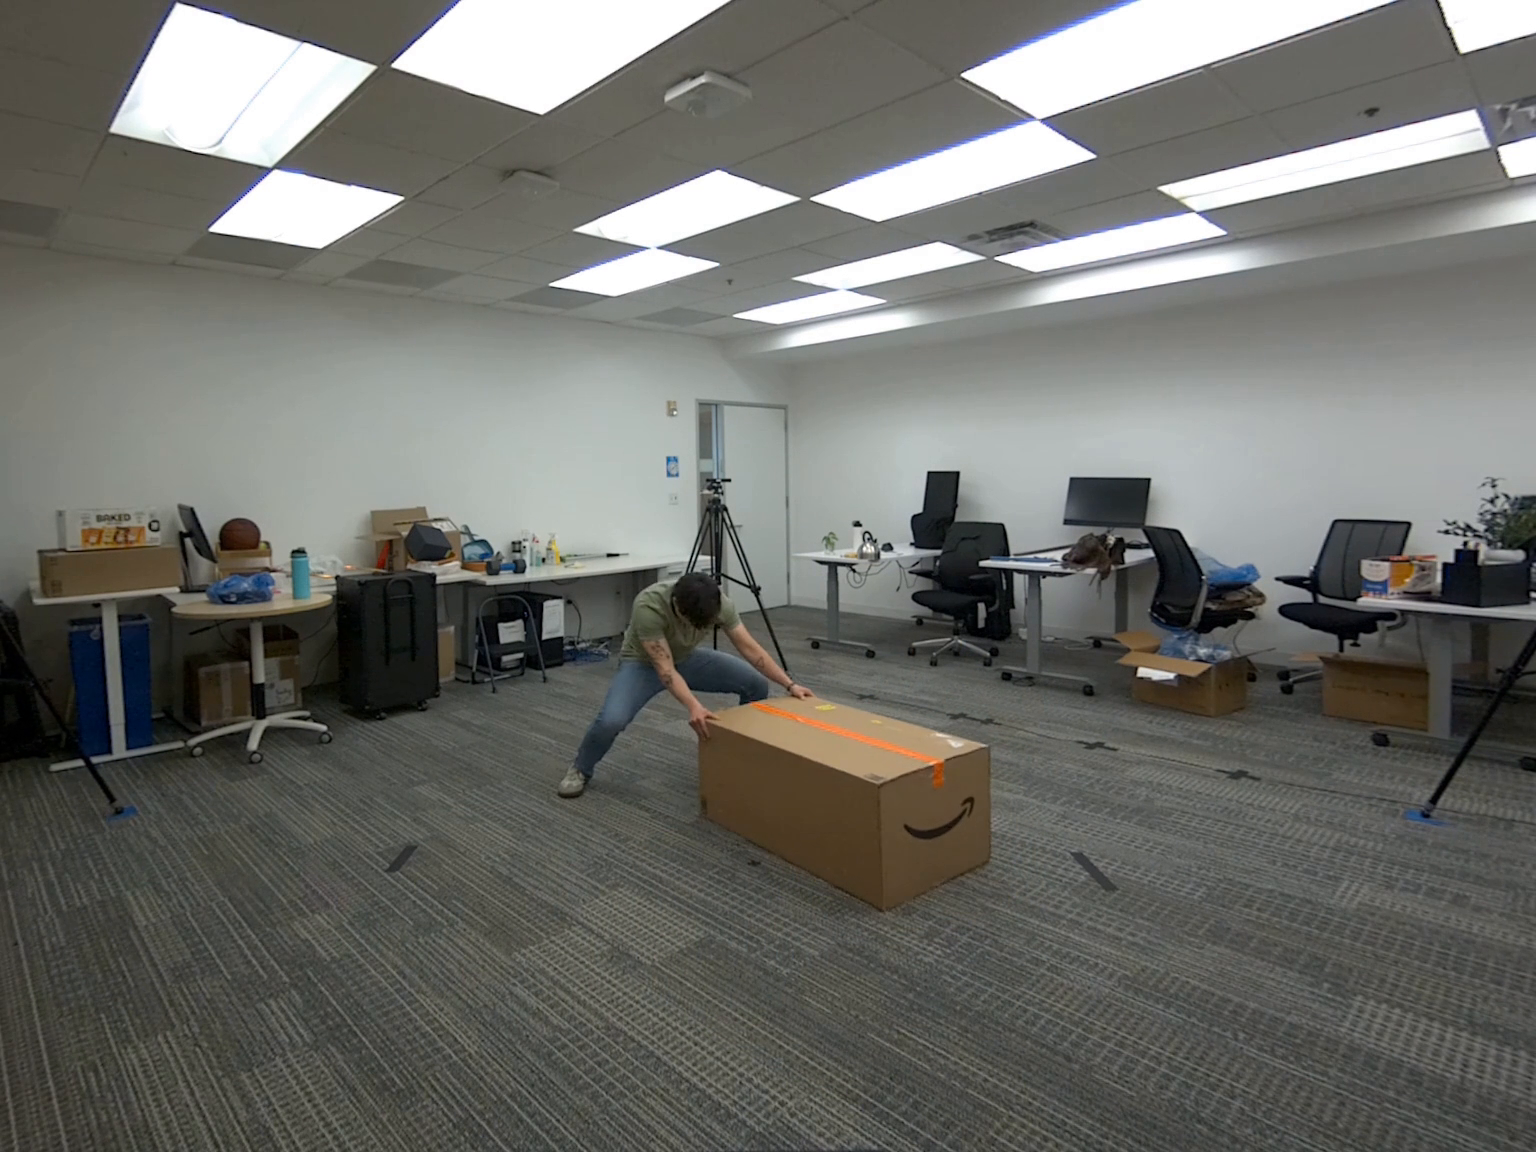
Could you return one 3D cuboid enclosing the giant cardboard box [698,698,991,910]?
[{"bbox_3d":[0.254,0.803,3.304,0.562,0.424,1.057,-5,7,-38],"label":"giant cardboard box"}]
